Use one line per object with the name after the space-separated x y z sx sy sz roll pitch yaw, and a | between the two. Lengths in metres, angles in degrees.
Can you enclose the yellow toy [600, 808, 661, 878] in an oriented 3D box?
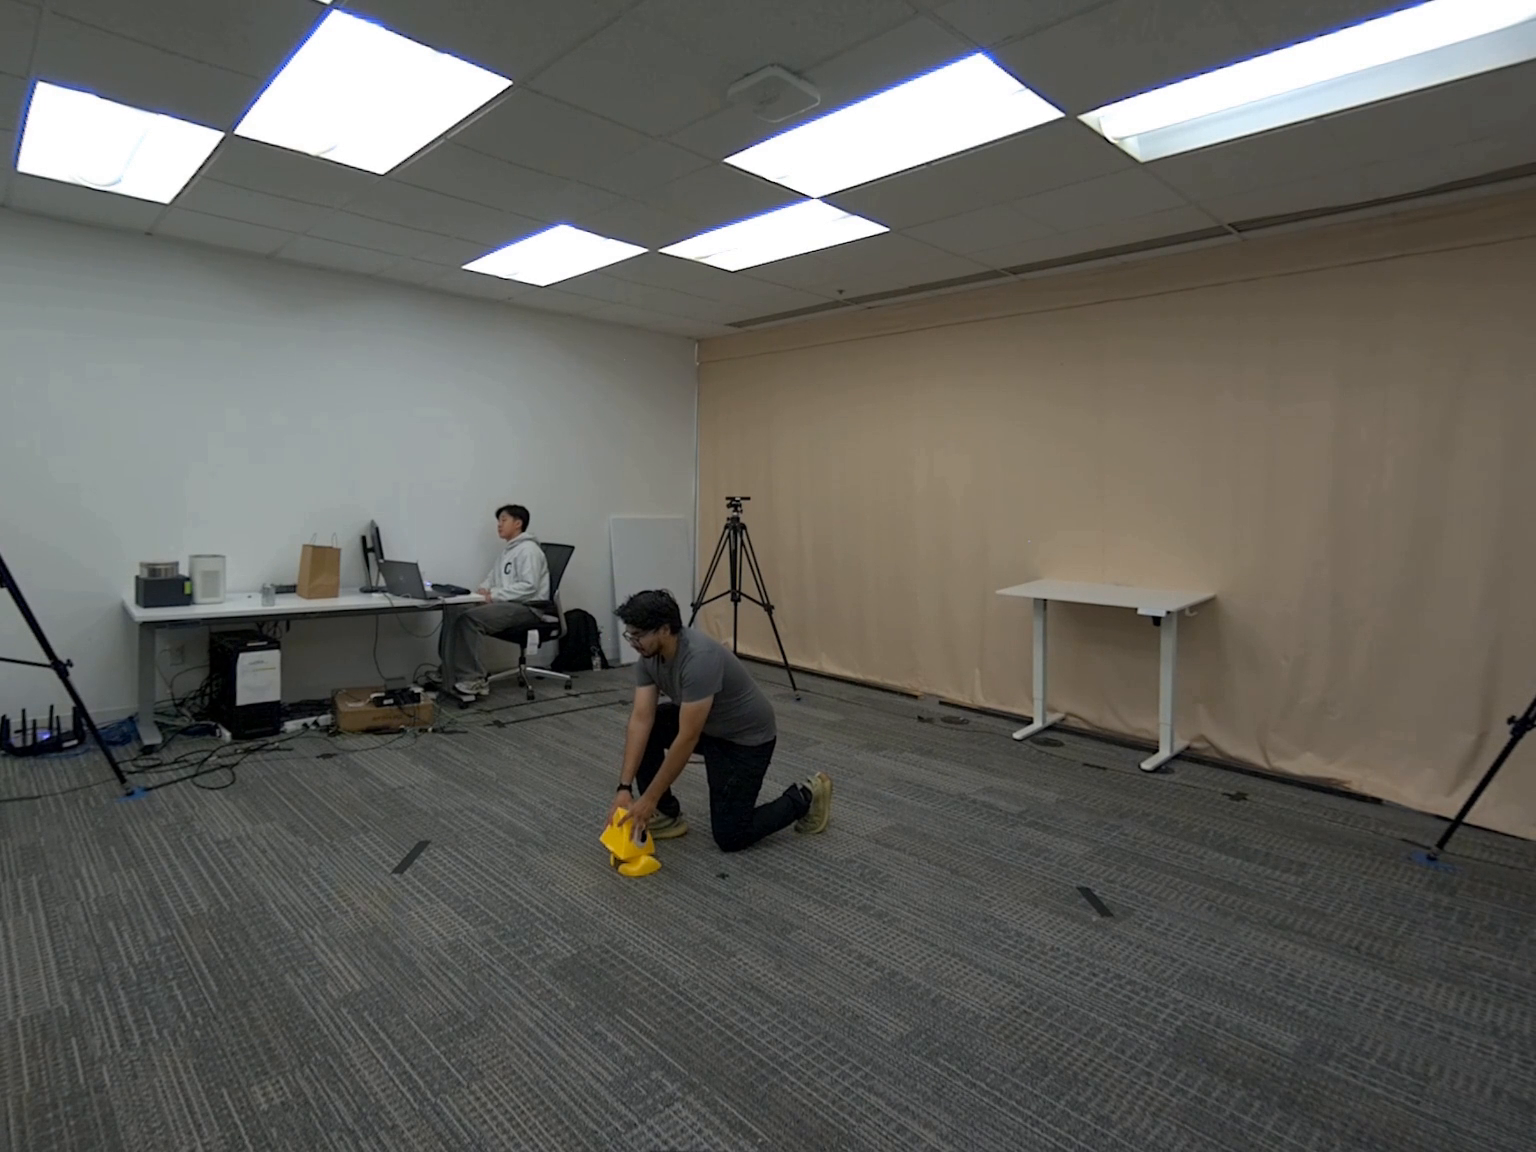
-0.527 0.982 3.177 0.189 0.230 0.210 -1 4 -34 | yellow toy
